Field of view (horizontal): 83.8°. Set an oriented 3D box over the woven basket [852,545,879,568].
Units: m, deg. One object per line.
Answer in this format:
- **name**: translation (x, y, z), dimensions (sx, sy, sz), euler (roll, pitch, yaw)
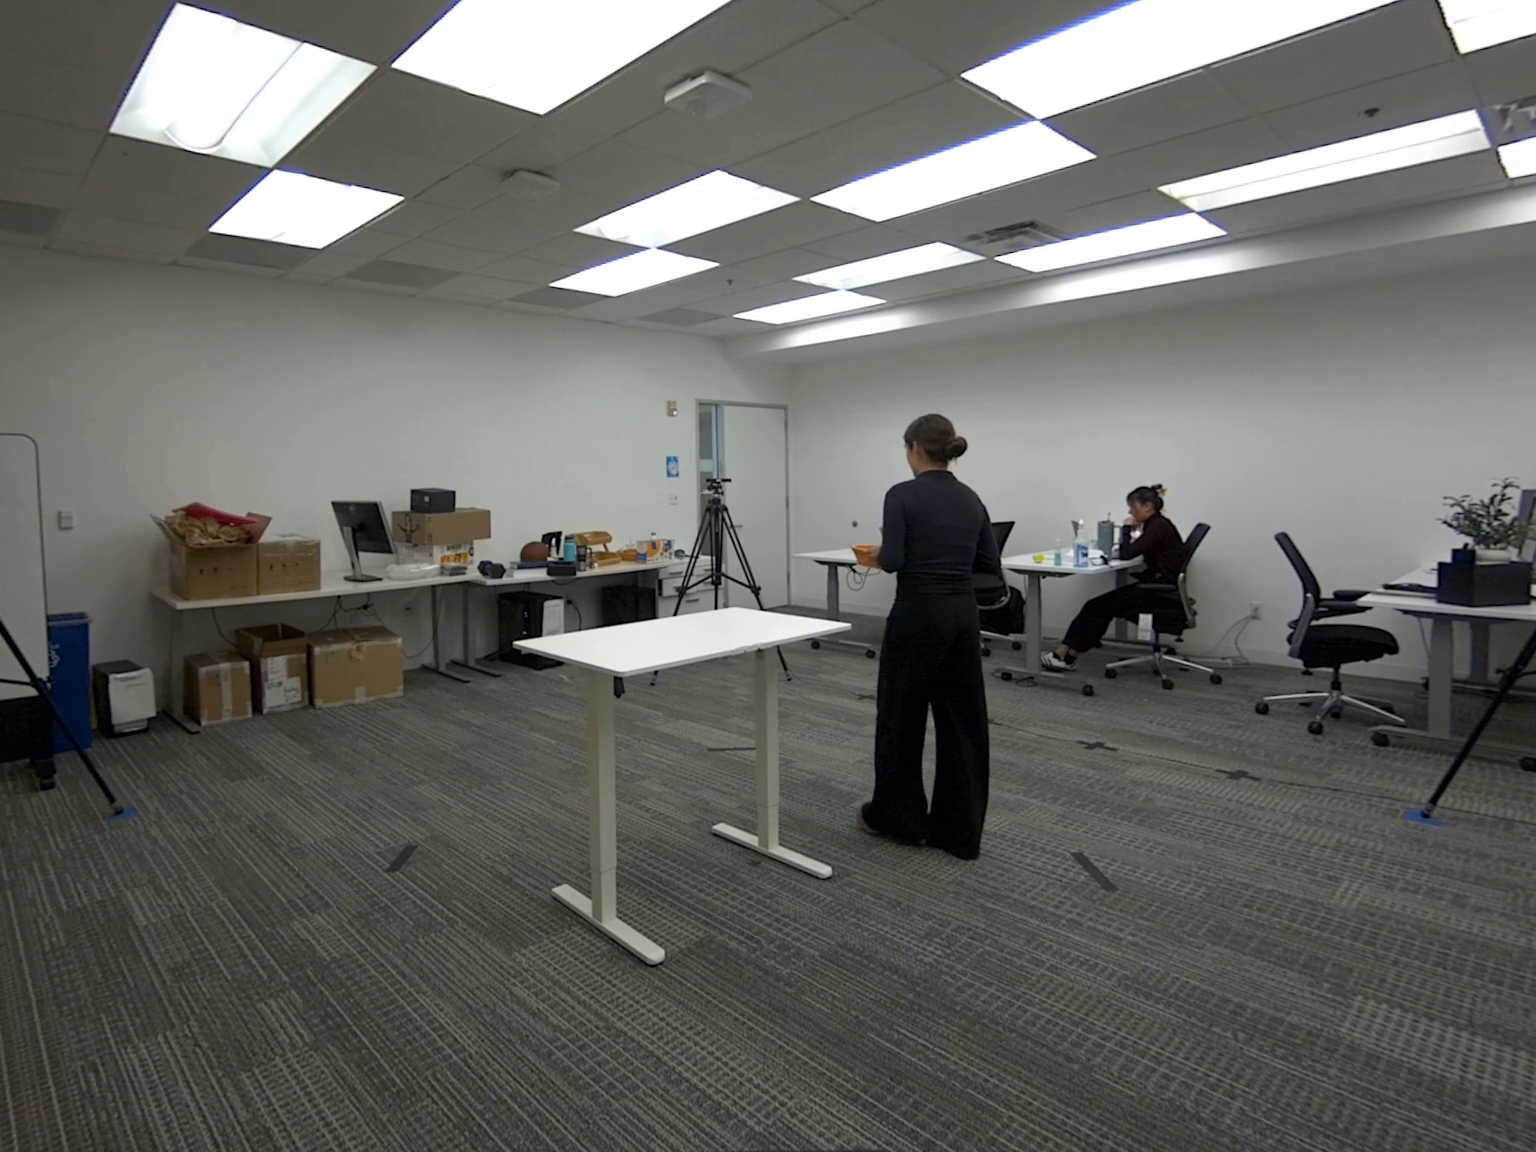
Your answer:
- **woven basket**: translation (0.527, -0.066, 3.458), dimensions (0.250, 0.073, 0.356), euler (-2, 7, -12)
